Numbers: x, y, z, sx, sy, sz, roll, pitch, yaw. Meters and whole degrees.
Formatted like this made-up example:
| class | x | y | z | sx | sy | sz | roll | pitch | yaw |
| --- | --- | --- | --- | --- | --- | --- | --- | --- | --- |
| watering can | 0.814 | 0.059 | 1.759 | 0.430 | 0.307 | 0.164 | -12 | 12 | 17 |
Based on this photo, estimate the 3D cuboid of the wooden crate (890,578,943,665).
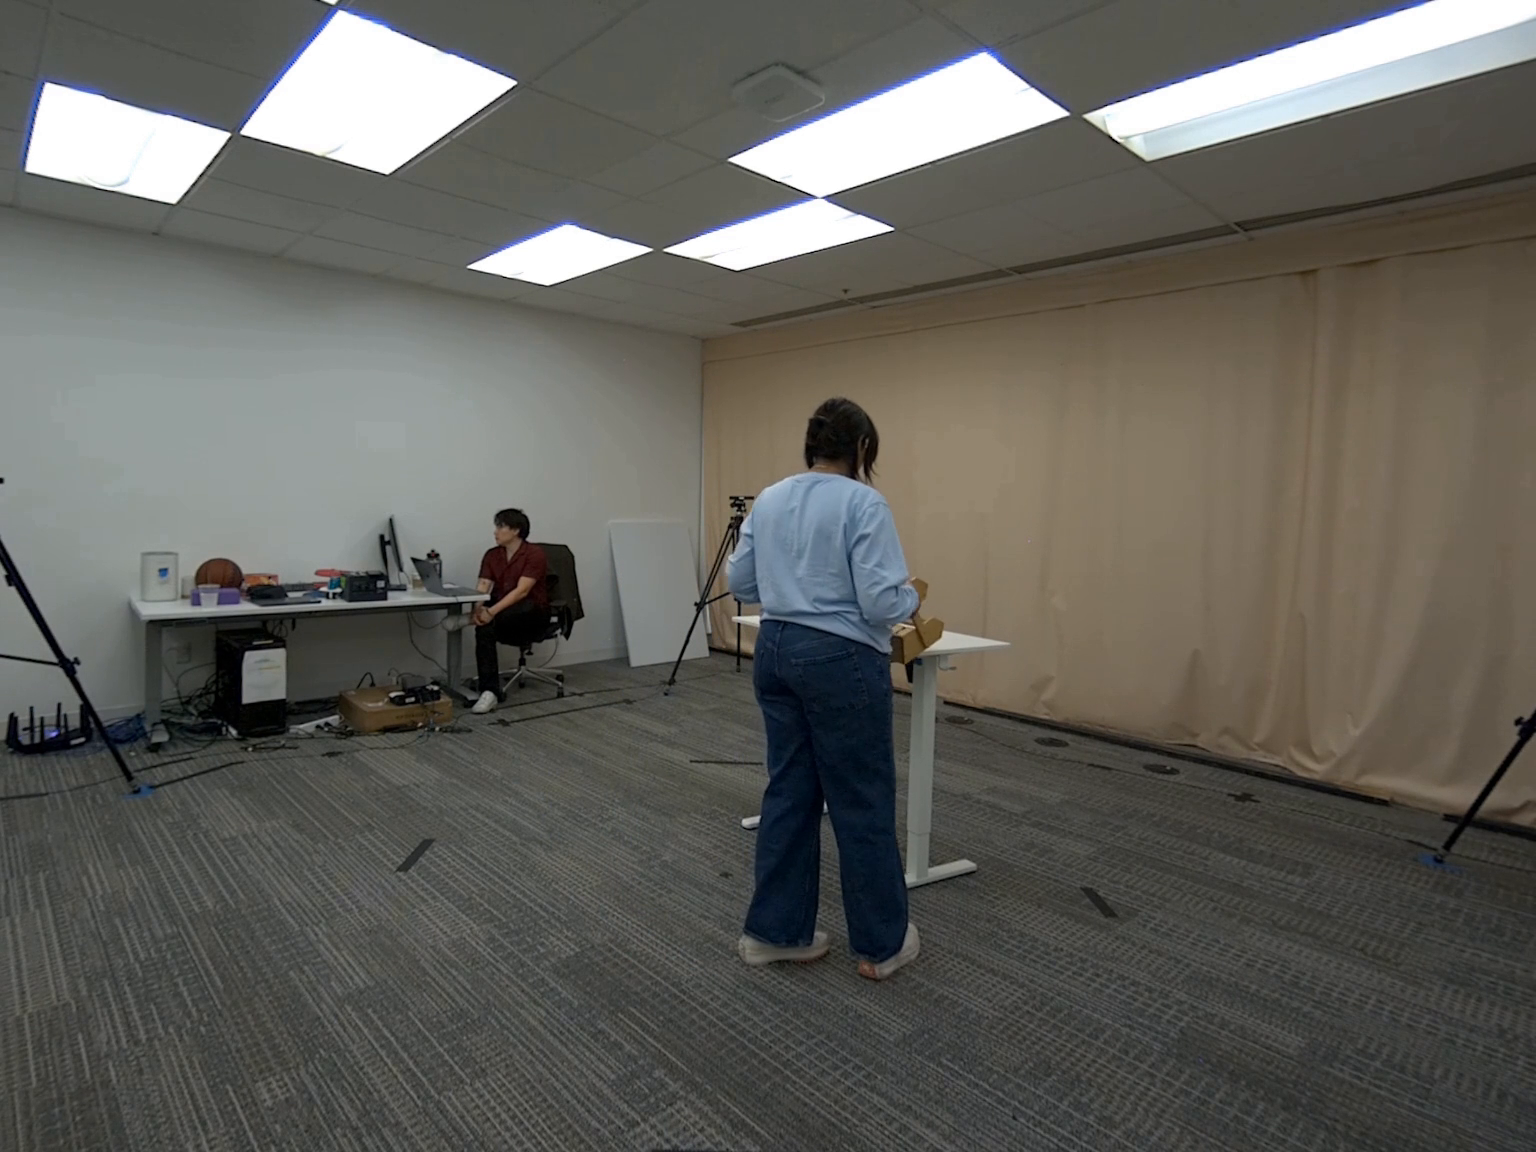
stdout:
| class | x | y | z | sx | sy | sz | roll | pitch | yaw |
| --- | --- | --- | --- | --- | --- | --- | --- | --- | --- |
| wooden crate | 0.364 | 0.099 | 2.746 | 0.333 | 0.269 | 0.298 | 10 | 25 | 41 |
